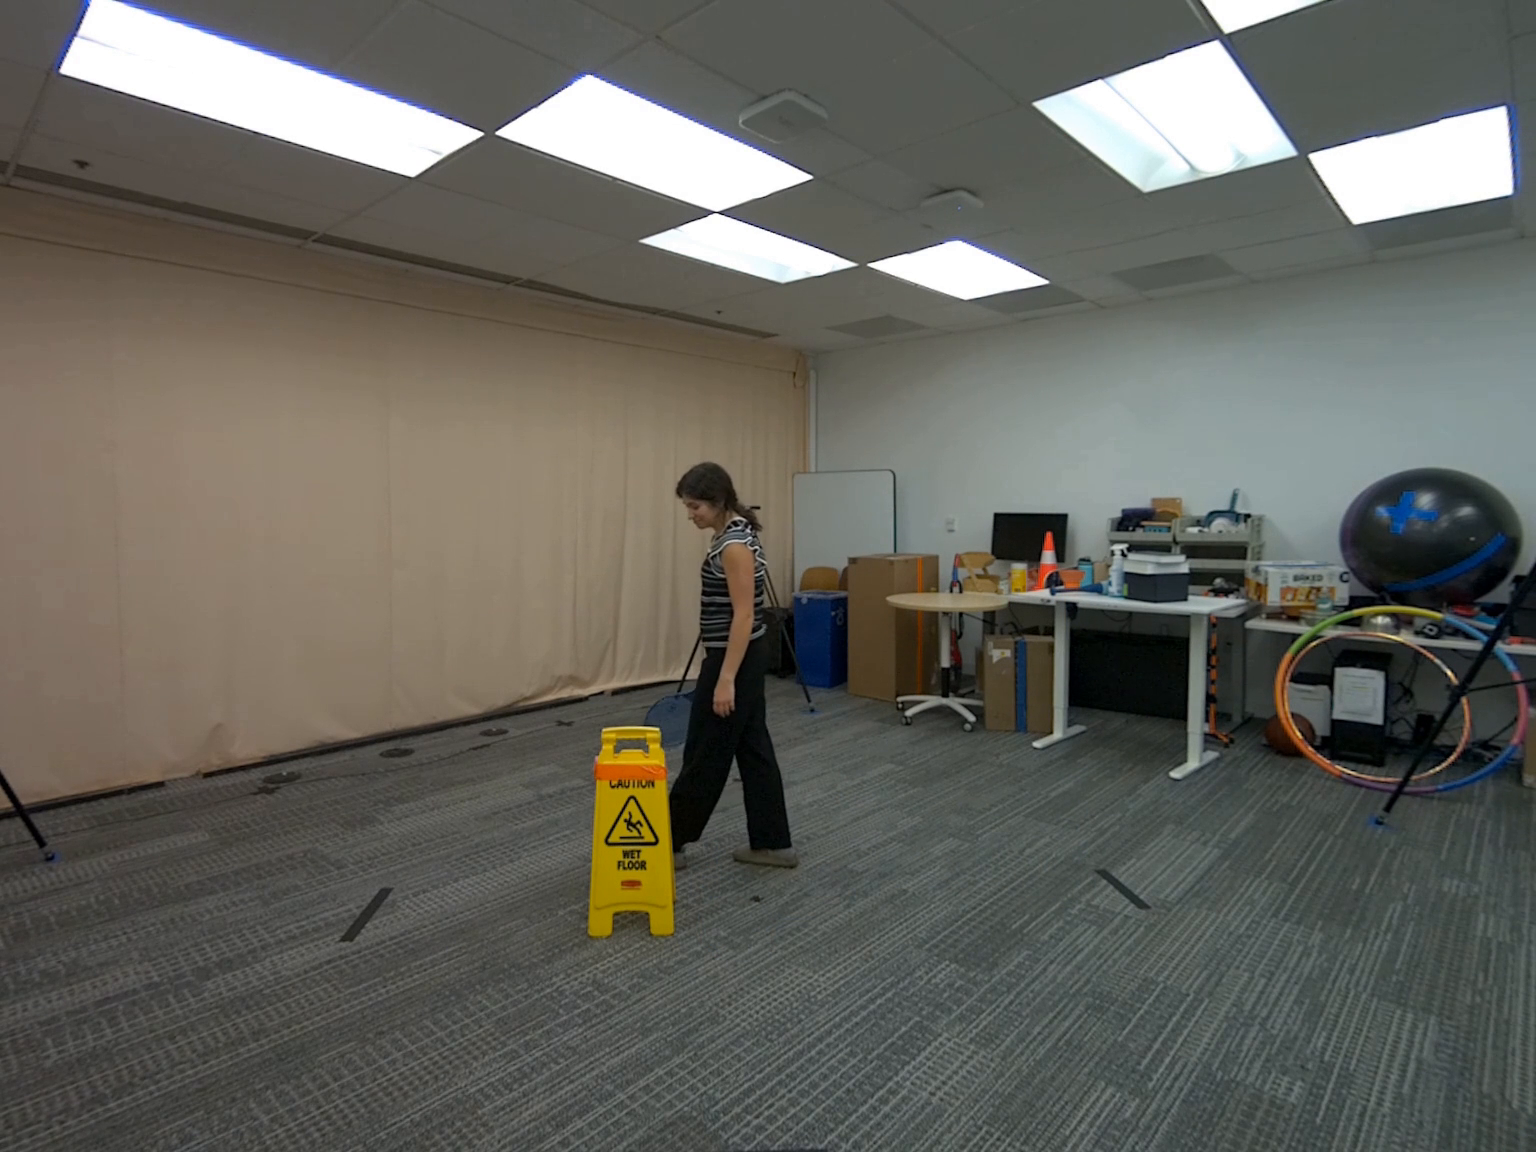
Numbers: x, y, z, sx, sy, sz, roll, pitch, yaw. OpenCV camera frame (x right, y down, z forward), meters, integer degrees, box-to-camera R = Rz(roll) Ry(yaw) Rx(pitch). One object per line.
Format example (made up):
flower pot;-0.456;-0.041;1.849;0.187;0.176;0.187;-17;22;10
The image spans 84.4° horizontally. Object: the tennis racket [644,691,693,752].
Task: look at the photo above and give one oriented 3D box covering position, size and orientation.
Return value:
tennis racket;-0.356;0.544;3.494;0.214;0.433;0.032;39;9;0
